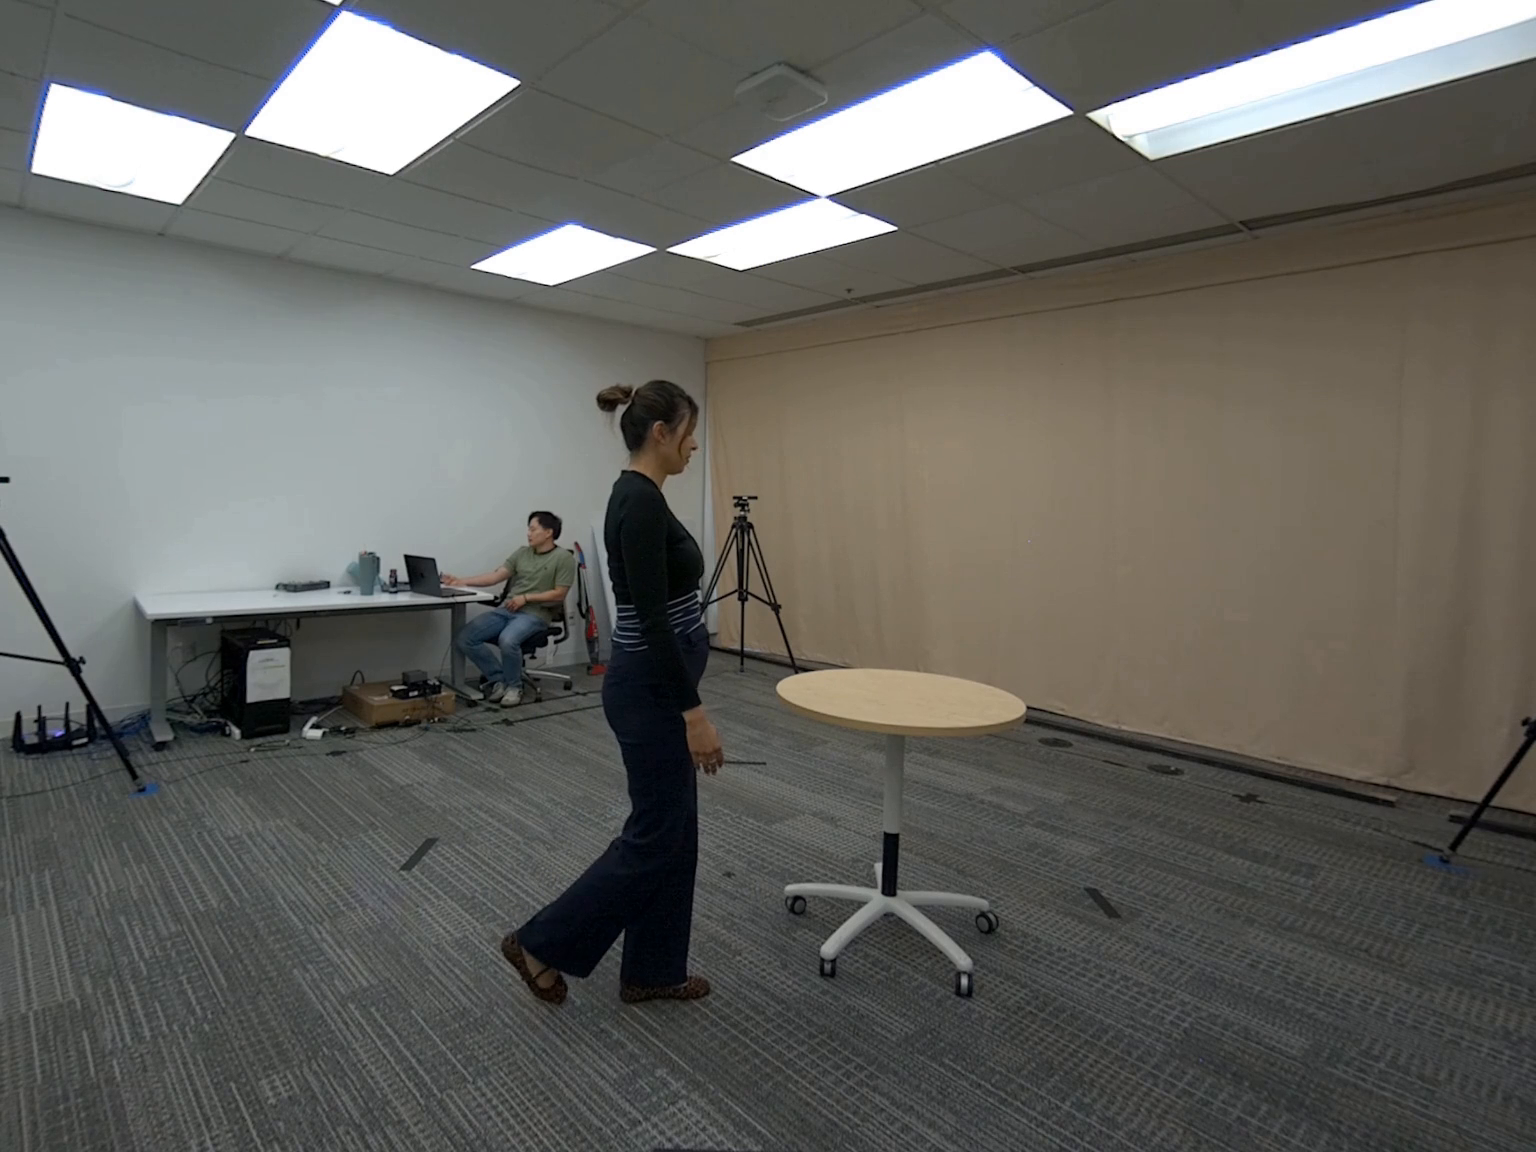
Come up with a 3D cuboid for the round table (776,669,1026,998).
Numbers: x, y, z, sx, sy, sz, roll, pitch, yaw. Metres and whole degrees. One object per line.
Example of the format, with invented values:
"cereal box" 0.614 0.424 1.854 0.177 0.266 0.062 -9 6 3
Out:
"round table" 0.386 0.766 2.669 0.763 0.792 0.767 2 4 -2
